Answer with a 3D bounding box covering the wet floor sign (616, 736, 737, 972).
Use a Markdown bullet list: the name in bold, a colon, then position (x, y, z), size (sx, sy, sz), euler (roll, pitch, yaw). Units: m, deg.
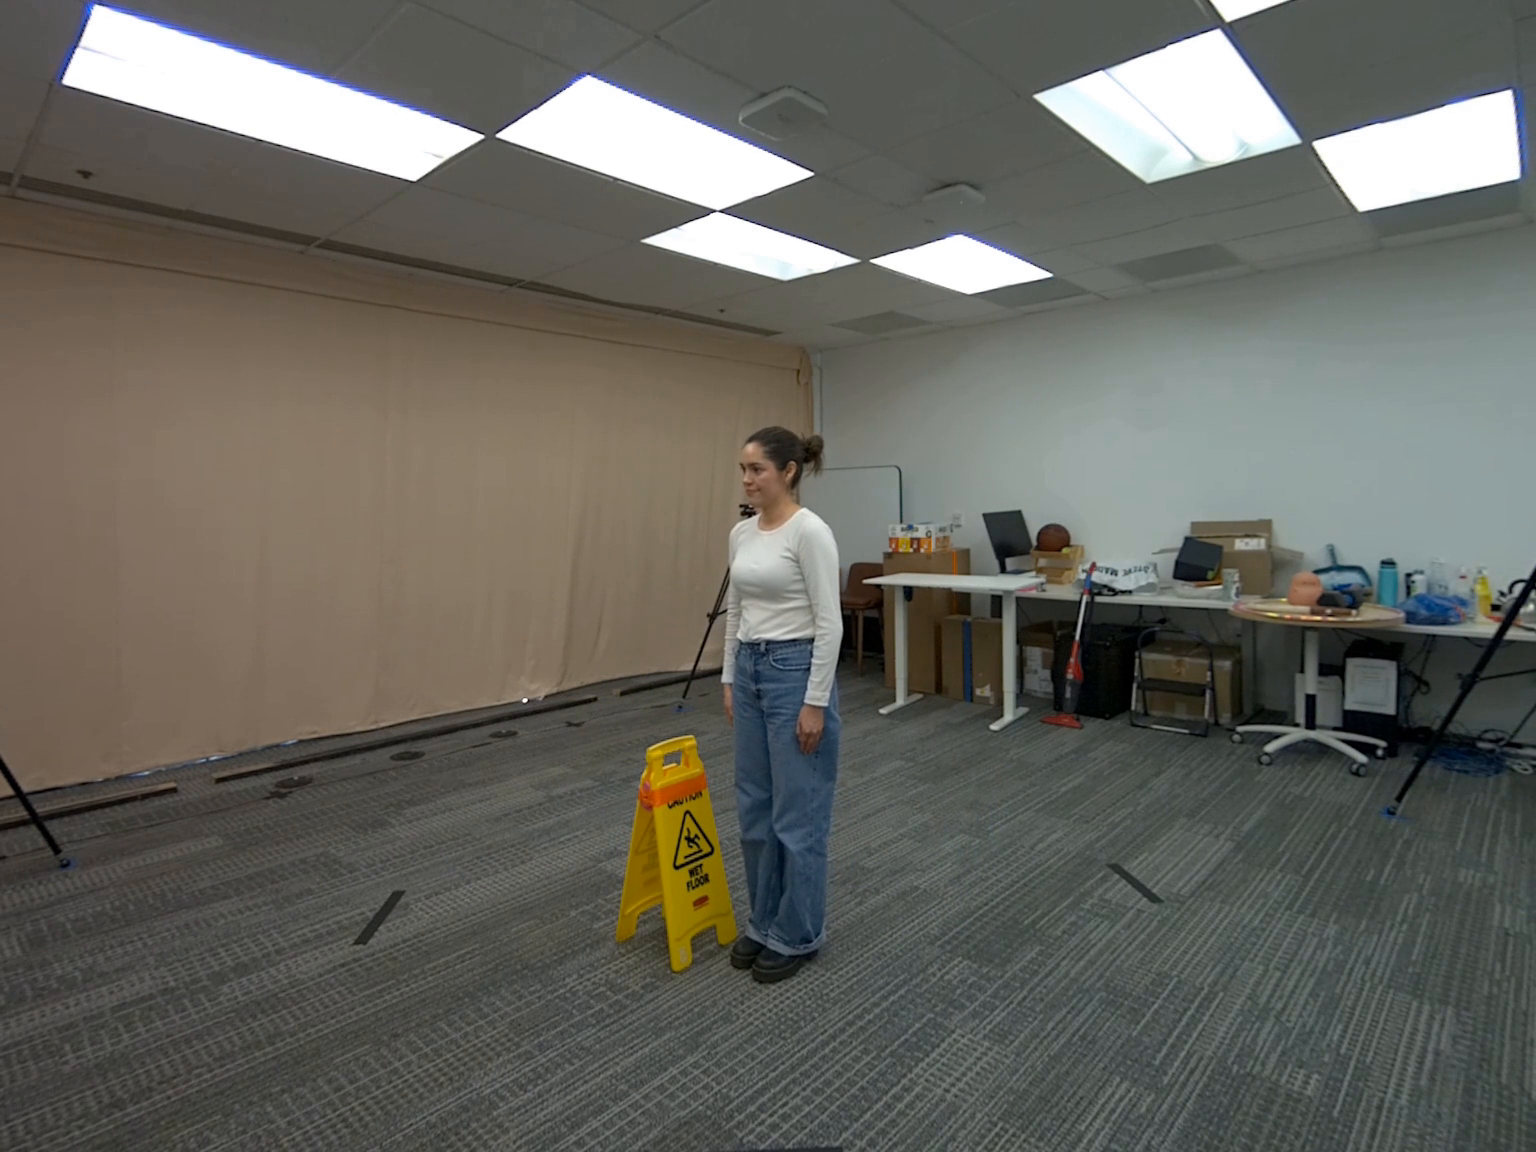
- **wet floor sign**: position (-0.301, 0.850, 2.687), size (0.299, 0.645, 0.273), euler (1, 3, 43)
